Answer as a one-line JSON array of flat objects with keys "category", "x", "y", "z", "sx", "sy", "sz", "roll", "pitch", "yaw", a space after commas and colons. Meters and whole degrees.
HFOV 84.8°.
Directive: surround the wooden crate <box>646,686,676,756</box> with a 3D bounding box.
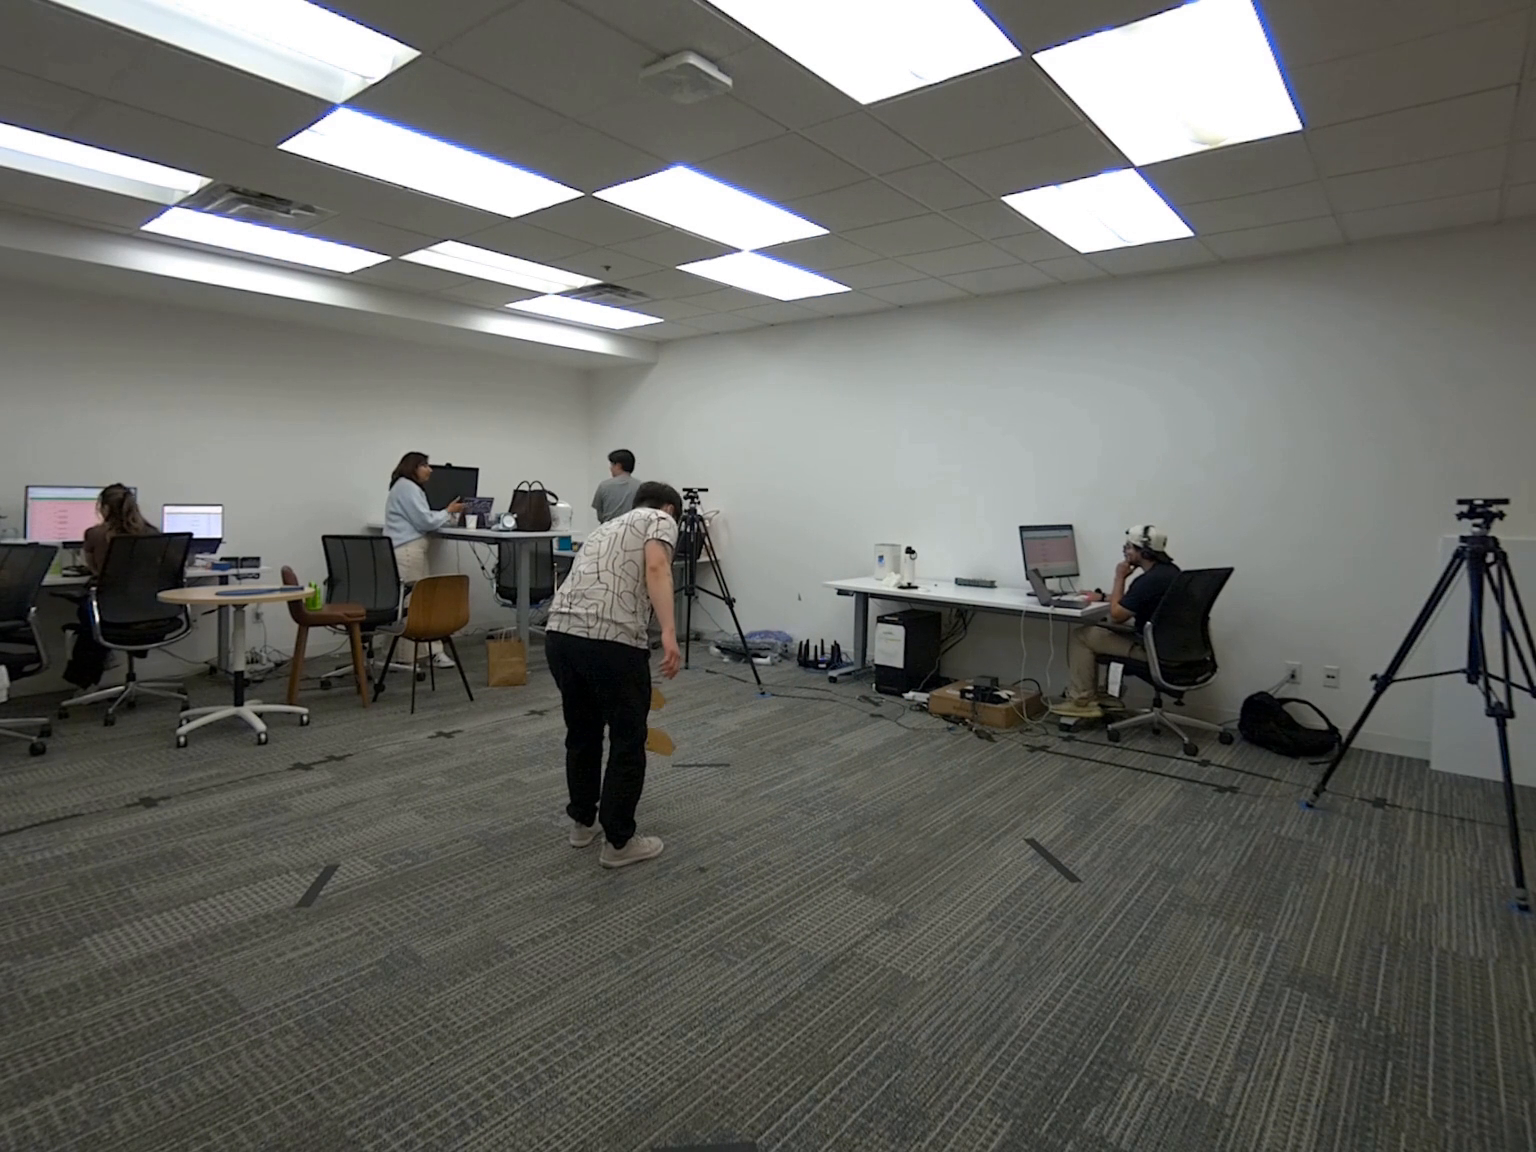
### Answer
[{"category": "wooden crate", "x": -0.537, "y": 0.601, "z": 3.694, "sx": 0.298, "sy": 0.275, "sz": 0.326, "roll": 19, "pitch": -11, "yaw": -11}]
